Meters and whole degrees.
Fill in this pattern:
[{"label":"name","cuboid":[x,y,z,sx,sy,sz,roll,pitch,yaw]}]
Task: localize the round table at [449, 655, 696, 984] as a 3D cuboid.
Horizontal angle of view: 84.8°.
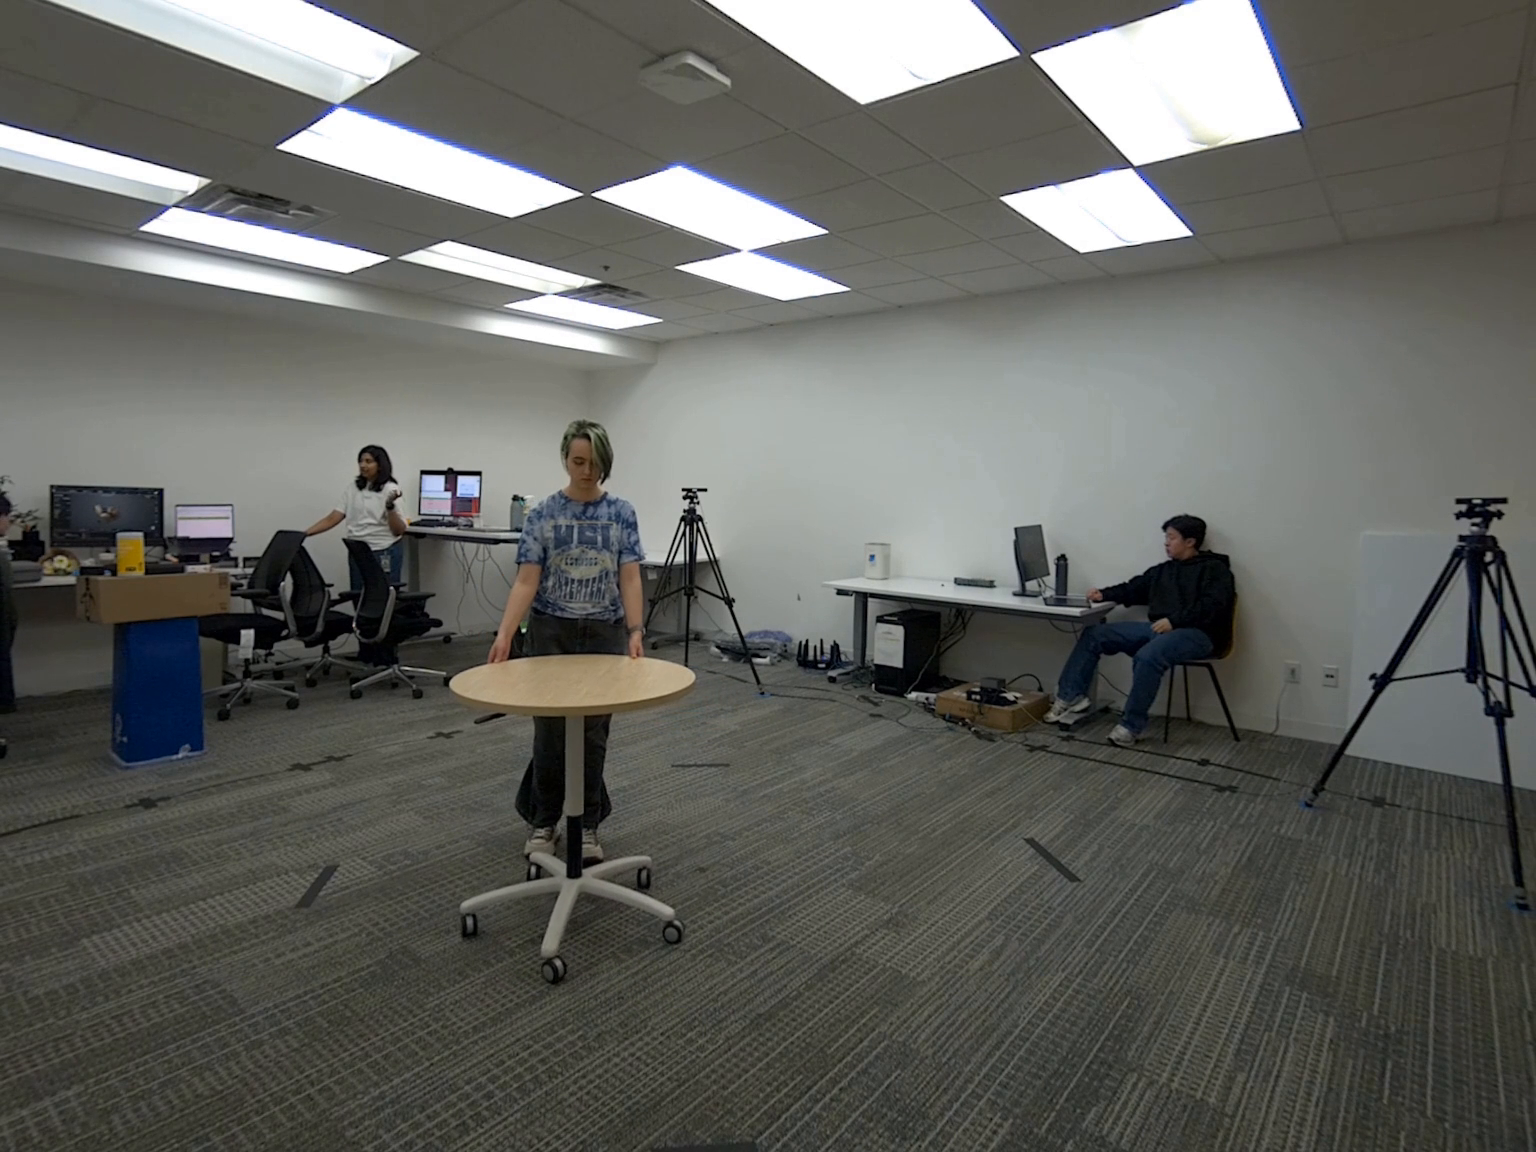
[{"label":"round table","cuboid":[-0.617,0.713,2.714,0.763,0.792,0.767,0,4,-2]}]
